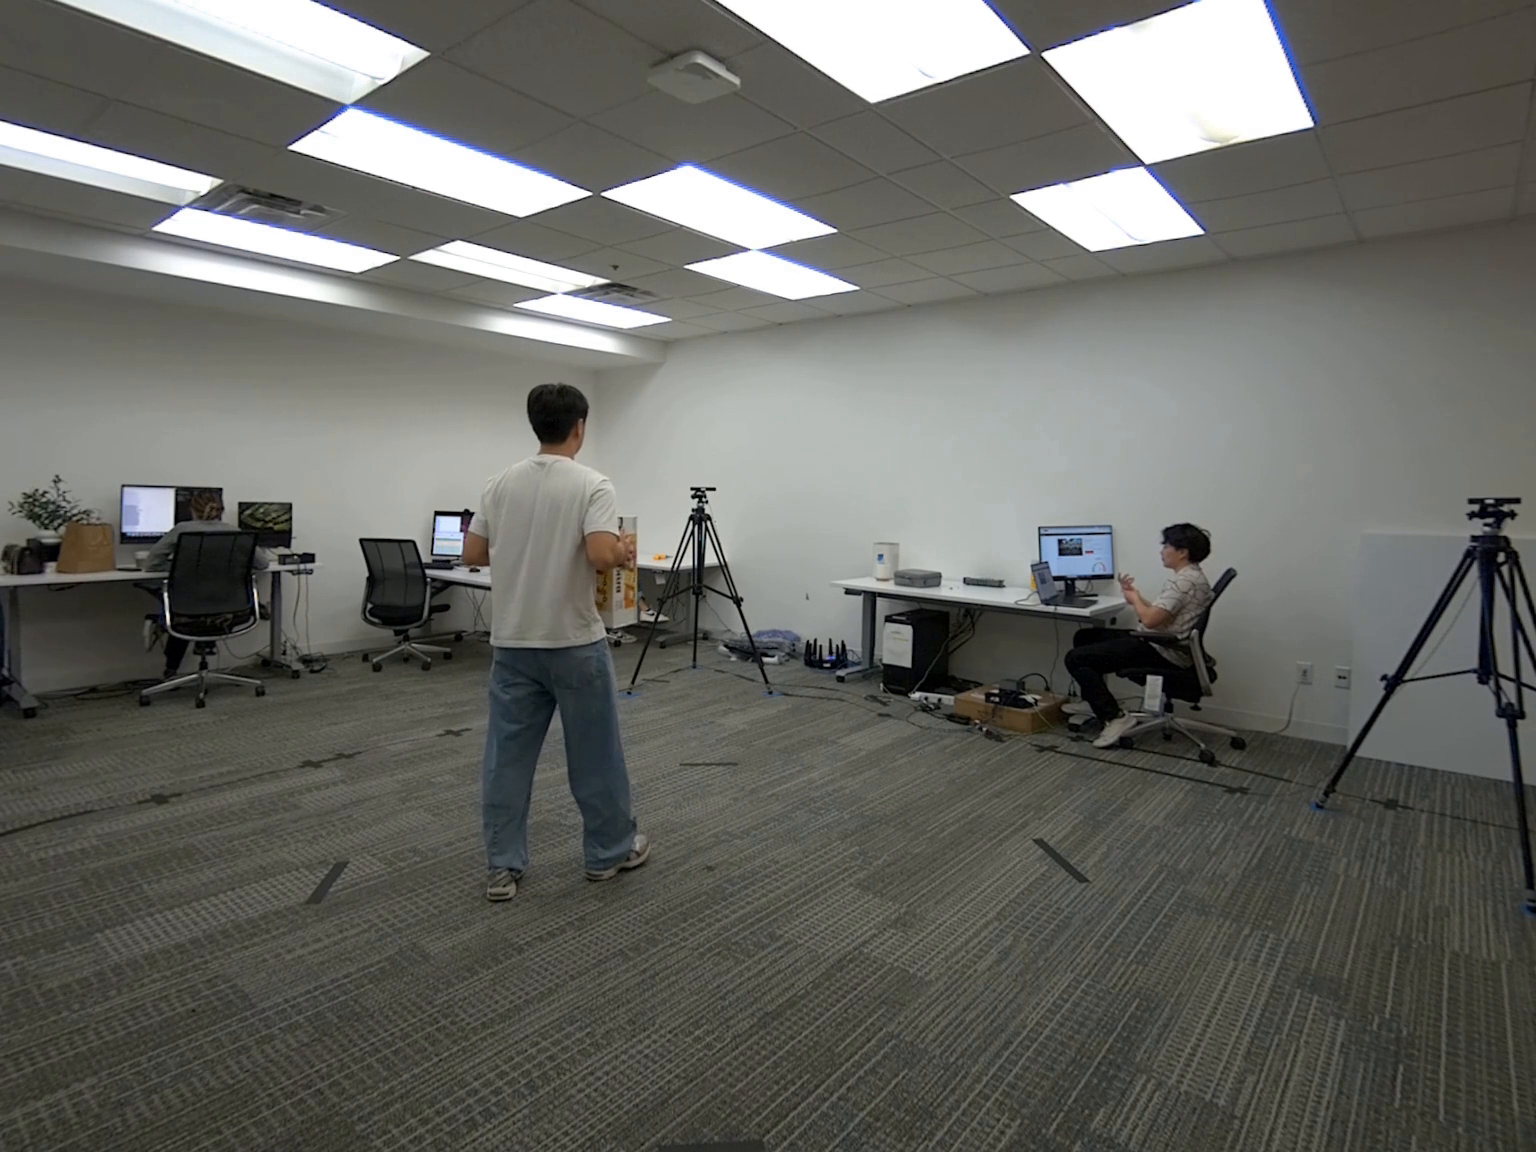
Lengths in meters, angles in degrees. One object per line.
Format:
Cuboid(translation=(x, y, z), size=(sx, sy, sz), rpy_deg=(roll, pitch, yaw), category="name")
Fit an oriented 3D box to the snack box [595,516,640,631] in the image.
Cuboid(translation=(-0.688, -0.031, 3.202), size=(0.348, 0.404, 0.202), rpy_deg=(2, 2, 20), category="snack box")
